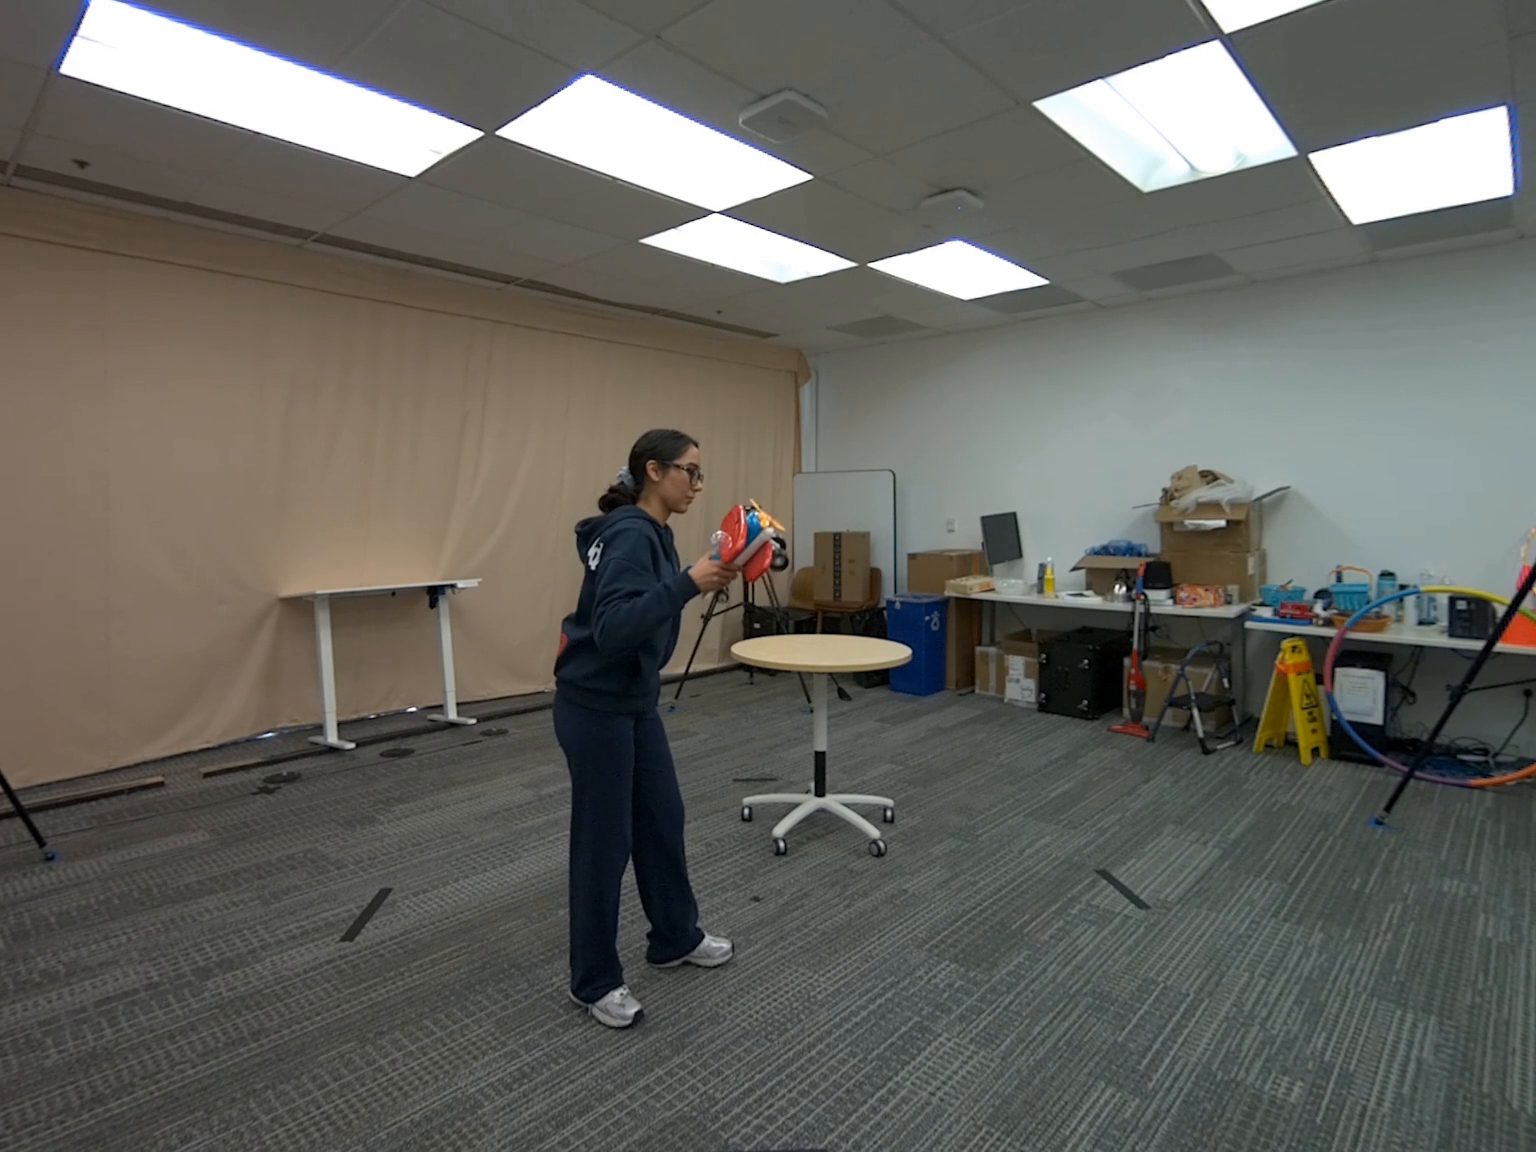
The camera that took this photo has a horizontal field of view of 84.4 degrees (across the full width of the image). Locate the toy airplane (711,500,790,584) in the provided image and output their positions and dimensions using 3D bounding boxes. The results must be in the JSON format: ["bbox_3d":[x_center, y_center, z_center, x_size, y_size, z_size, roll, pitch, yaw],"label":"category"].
[{"bbox_3d":[-0.061,-0.043,2.066,0.258,0.152,0.258,-45,24,-10],"label":"toy airplane"}]
